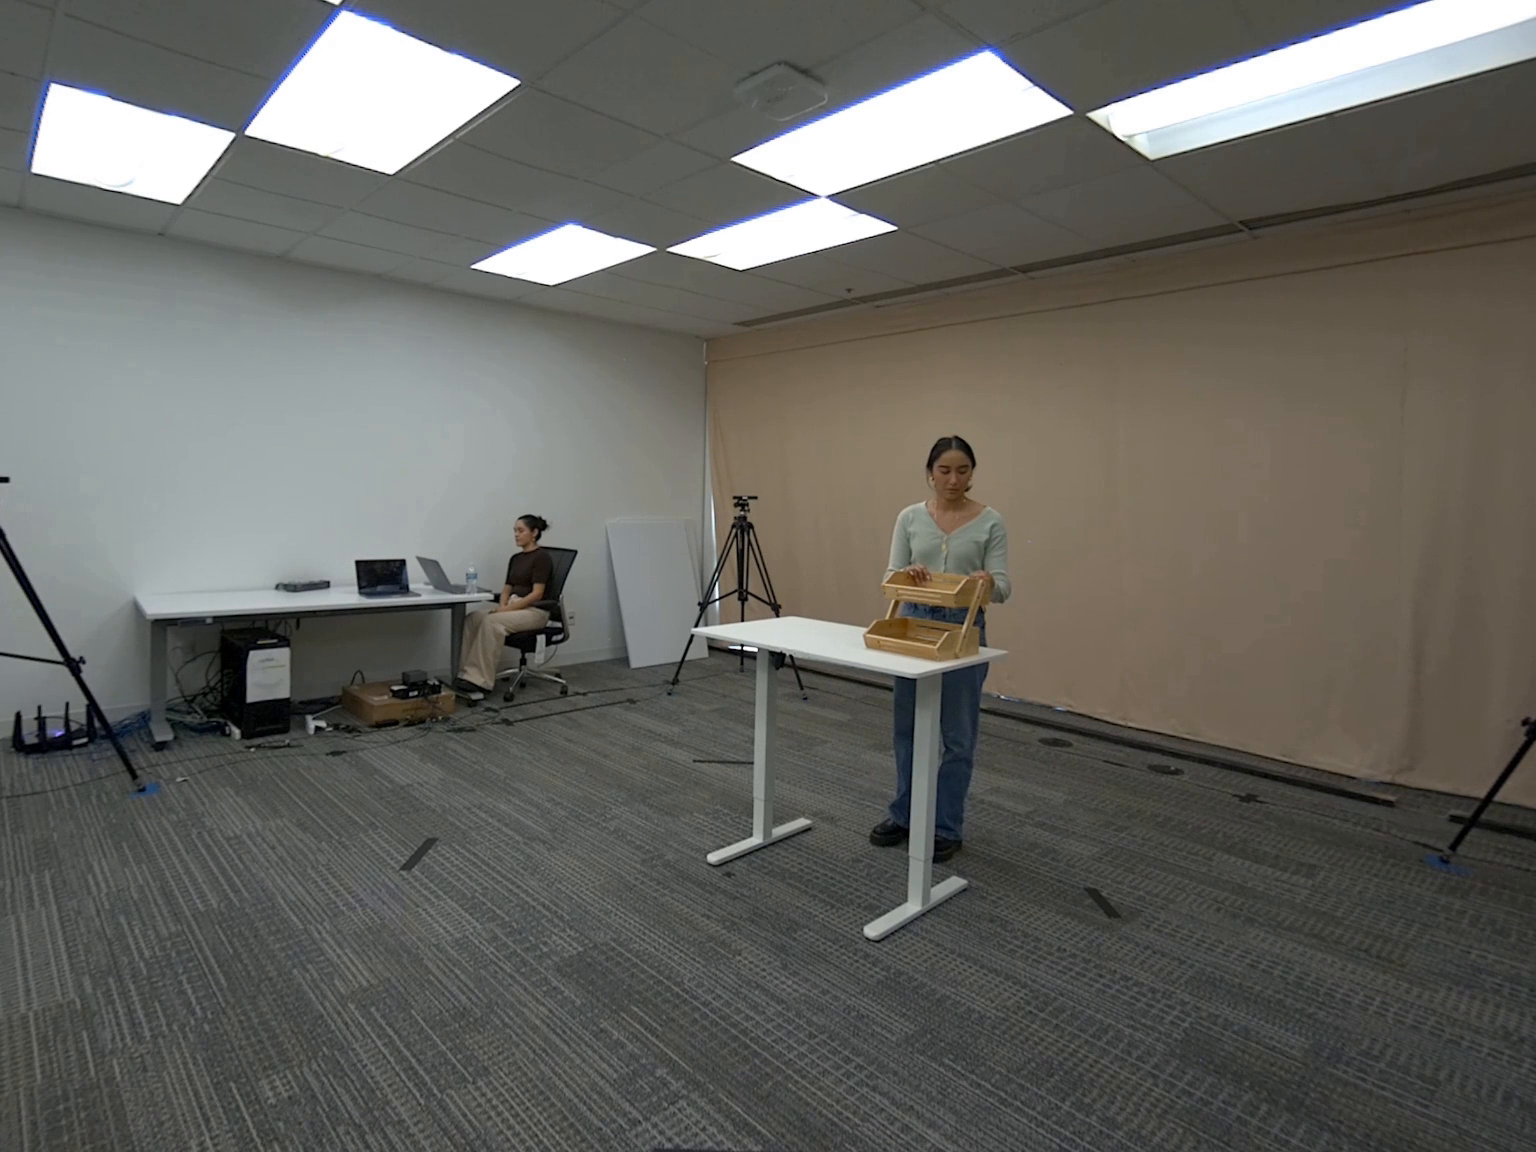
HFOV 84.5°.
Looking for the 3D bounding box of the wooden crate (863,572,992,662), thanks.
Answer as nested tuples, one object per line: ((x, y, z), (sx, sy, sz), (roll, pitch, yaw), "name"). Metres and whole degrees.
((0.540, 0.128, 2.894), (0.295, 0.272, 0.333), (-2, 6, -43), "wooden crate")
